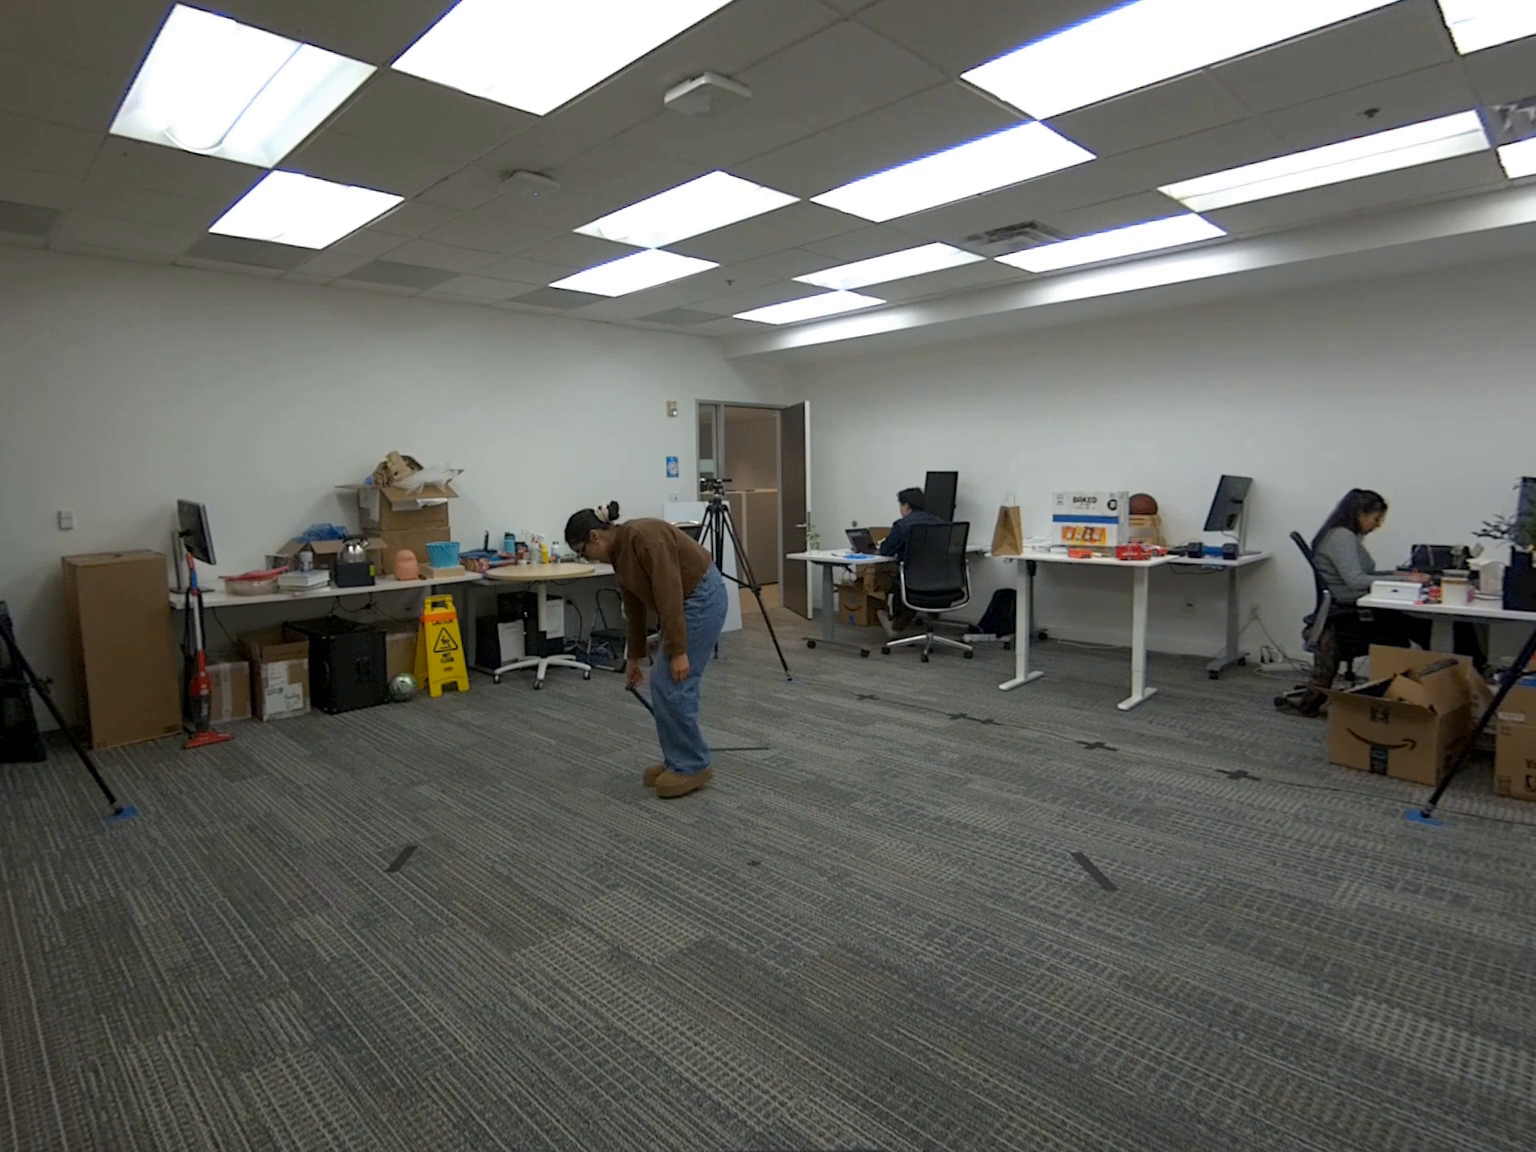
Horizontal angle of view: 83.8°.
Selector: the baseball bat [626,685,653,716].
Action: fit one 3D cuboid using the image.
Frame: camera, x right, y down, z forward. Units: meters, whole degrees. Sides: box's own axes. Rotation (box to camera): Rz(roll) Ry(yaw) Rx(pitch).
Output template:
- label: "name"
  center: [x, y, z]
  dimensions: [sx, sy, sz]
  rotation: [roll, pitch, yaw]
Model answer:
- label: "baseball bat"
  center: [-0.495, 0.718, 4.161]
  dimensions: [0.089, 0.536, 0.090]
  rotation: [-41, 10, 9]
